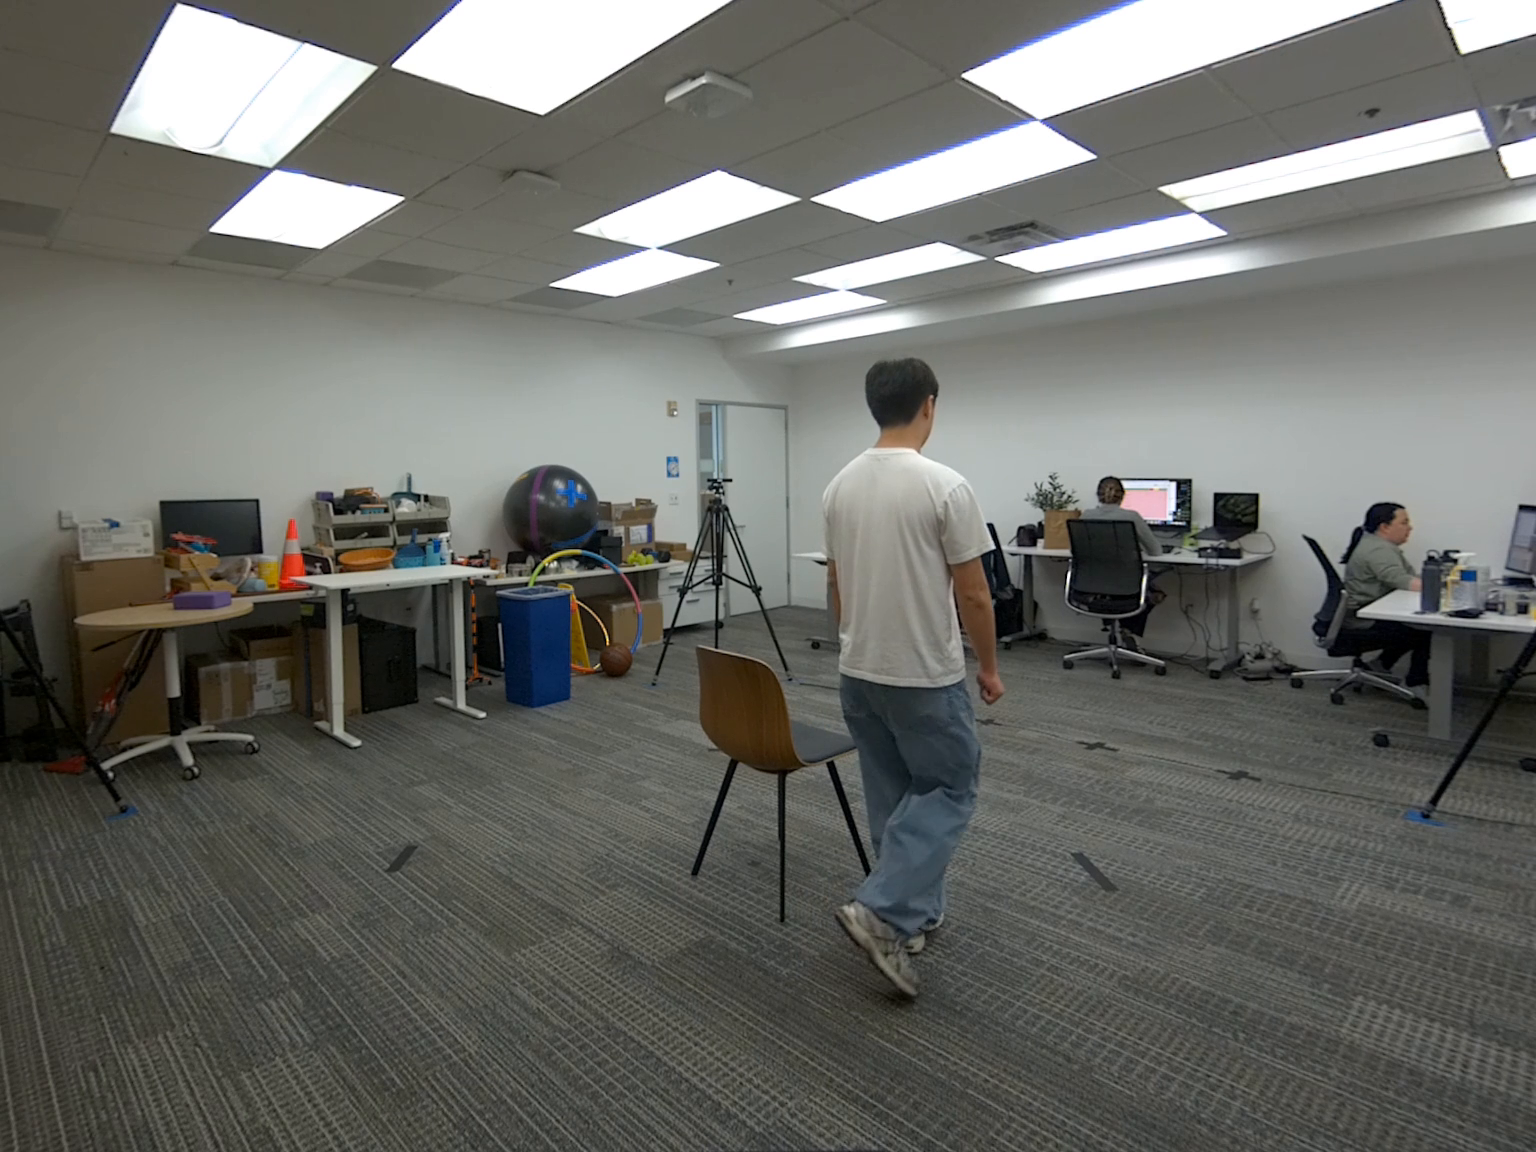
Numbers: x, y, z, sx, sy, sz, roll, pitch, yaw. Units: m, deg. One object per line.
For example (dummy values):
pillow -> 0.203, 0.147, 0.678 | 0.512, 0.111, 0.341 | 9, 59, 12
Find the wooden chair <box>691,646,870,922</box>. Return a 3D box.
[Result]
wooden chair -> 0.046, 0.633, 2.975 | 0.511, 0.871, 0.493 | -10, 10, -43
